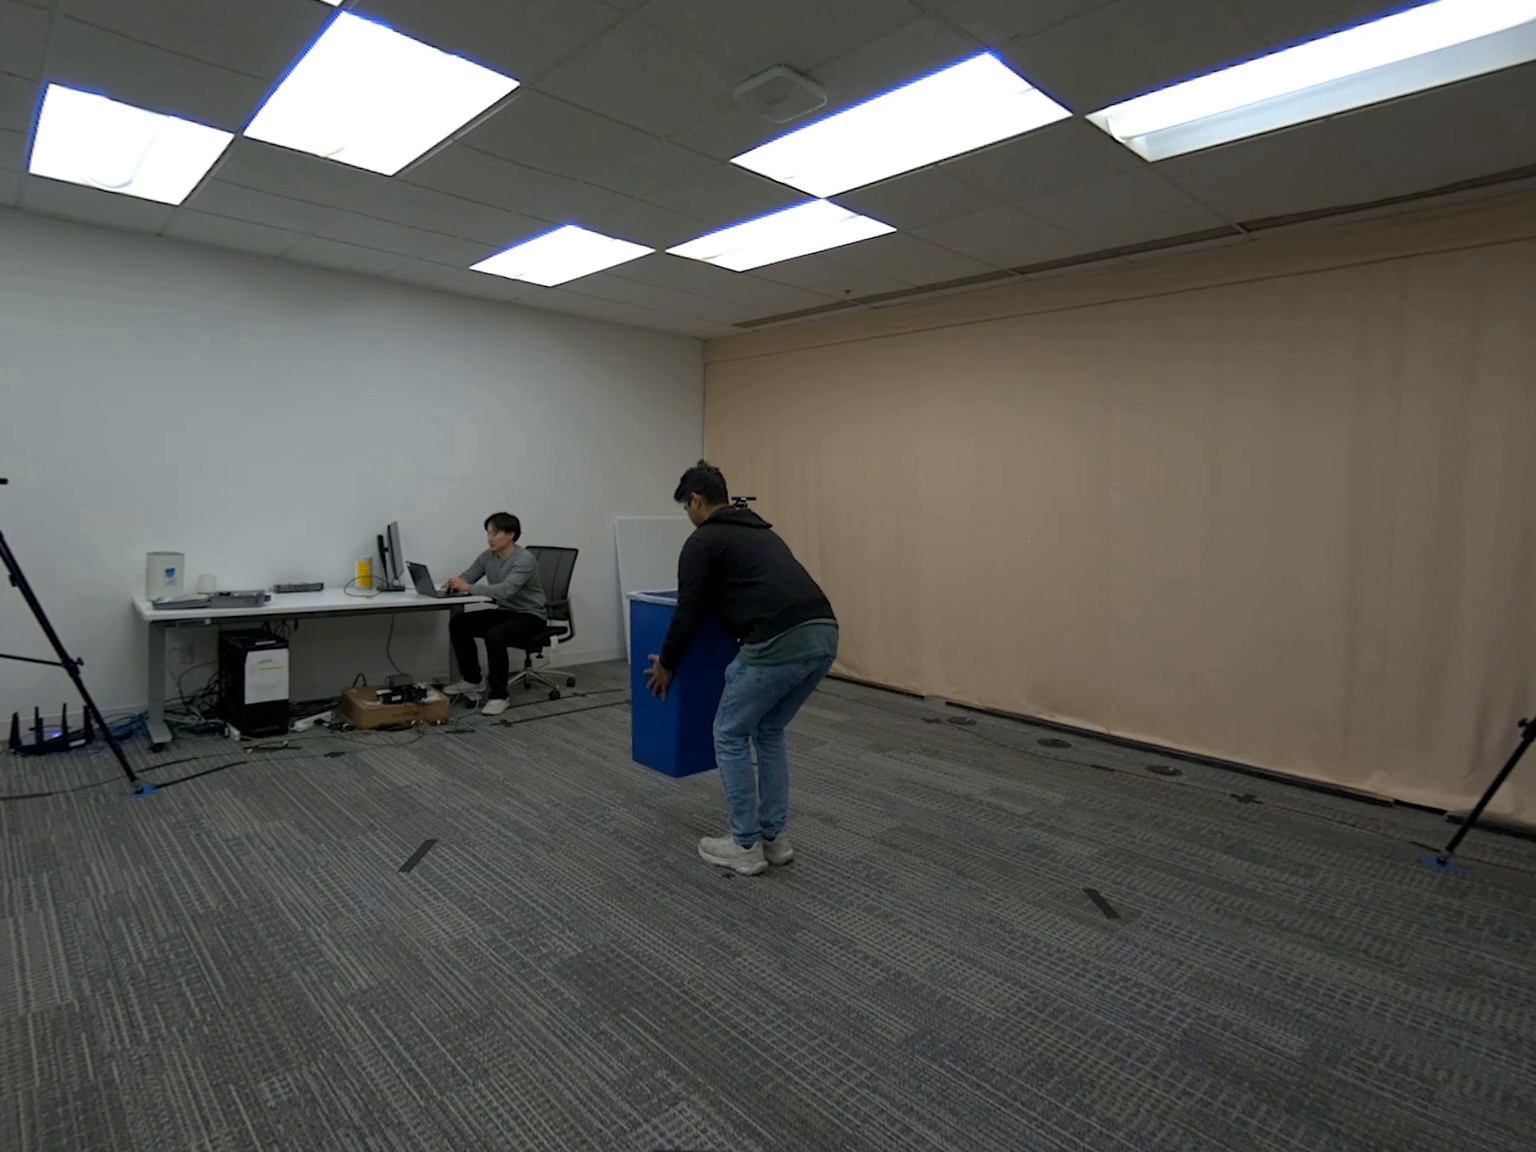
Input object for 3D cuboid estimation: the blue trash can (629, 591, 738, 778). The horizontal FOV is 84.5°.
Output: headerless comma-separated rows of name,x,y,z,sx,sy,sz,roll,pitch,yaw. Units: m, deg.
blue trash can,-0.374,0.433,3.540,0.383,0.712,0.369,4,3,45
